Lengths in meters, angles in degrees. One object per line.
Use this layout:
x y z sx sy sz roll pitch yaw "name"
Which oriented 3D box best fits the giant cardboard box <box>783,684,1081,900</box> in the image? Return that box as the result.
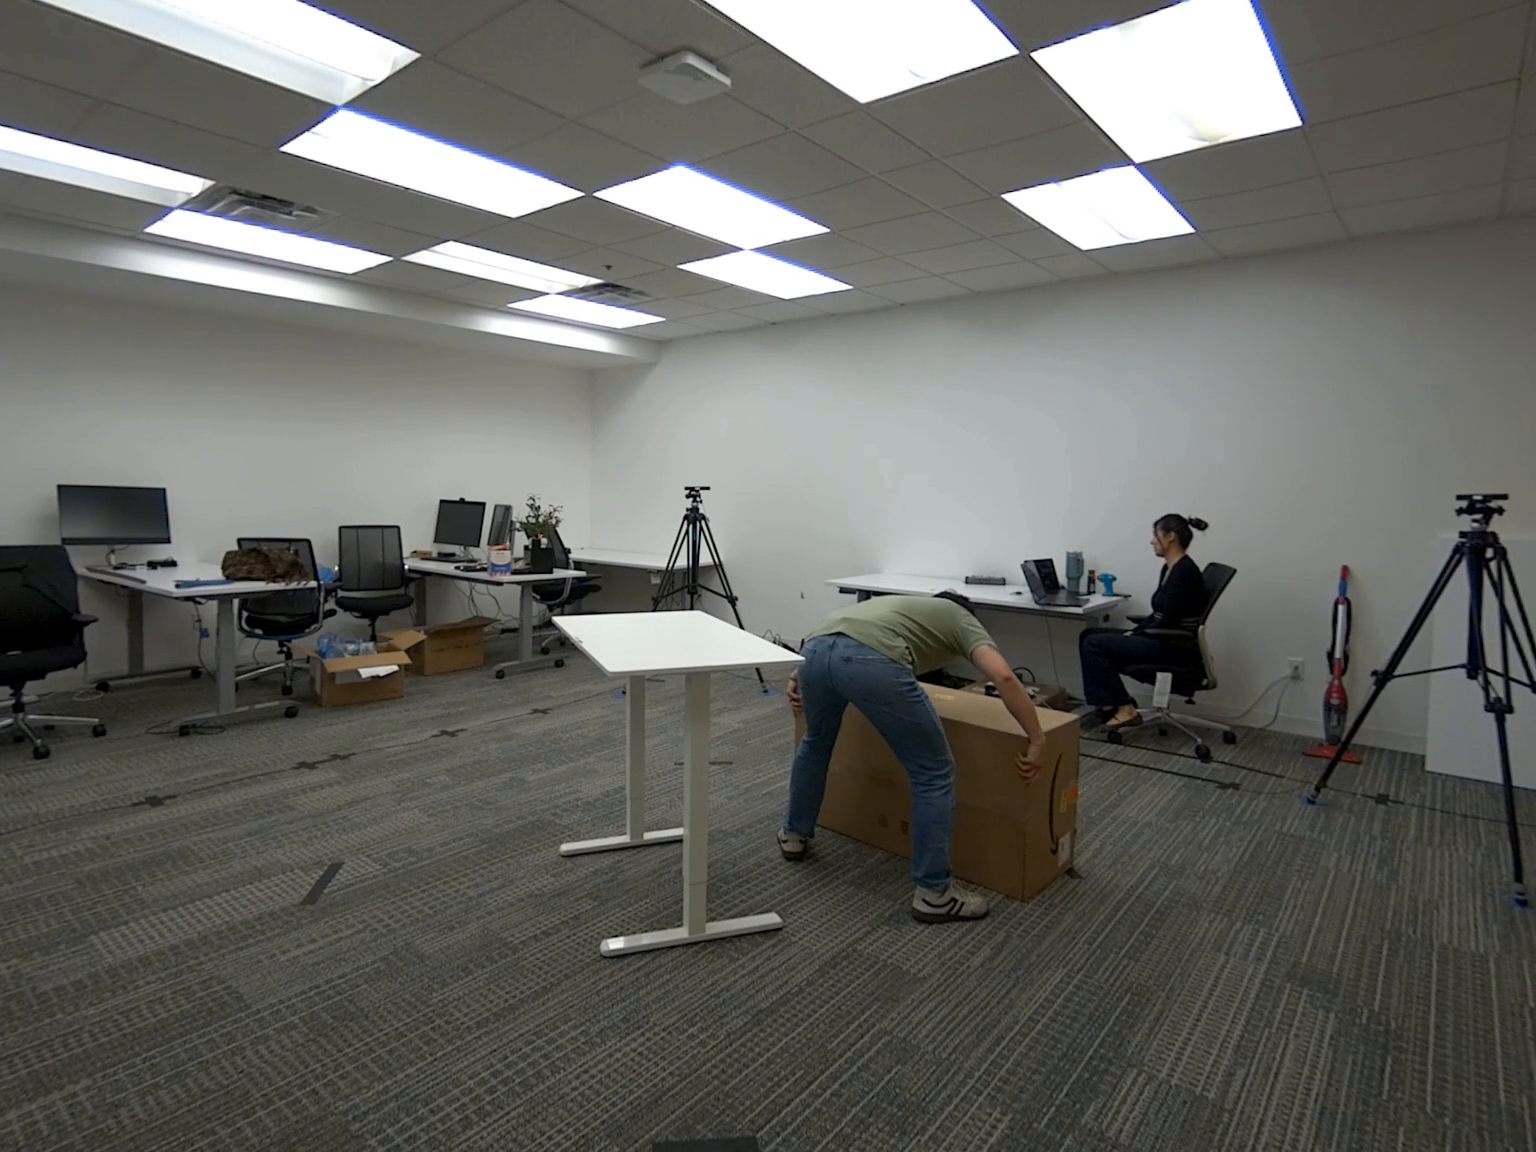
0.631 0.764 3.382 1.061 0.575 0.414 6 8 43 "giant cardboard box"
